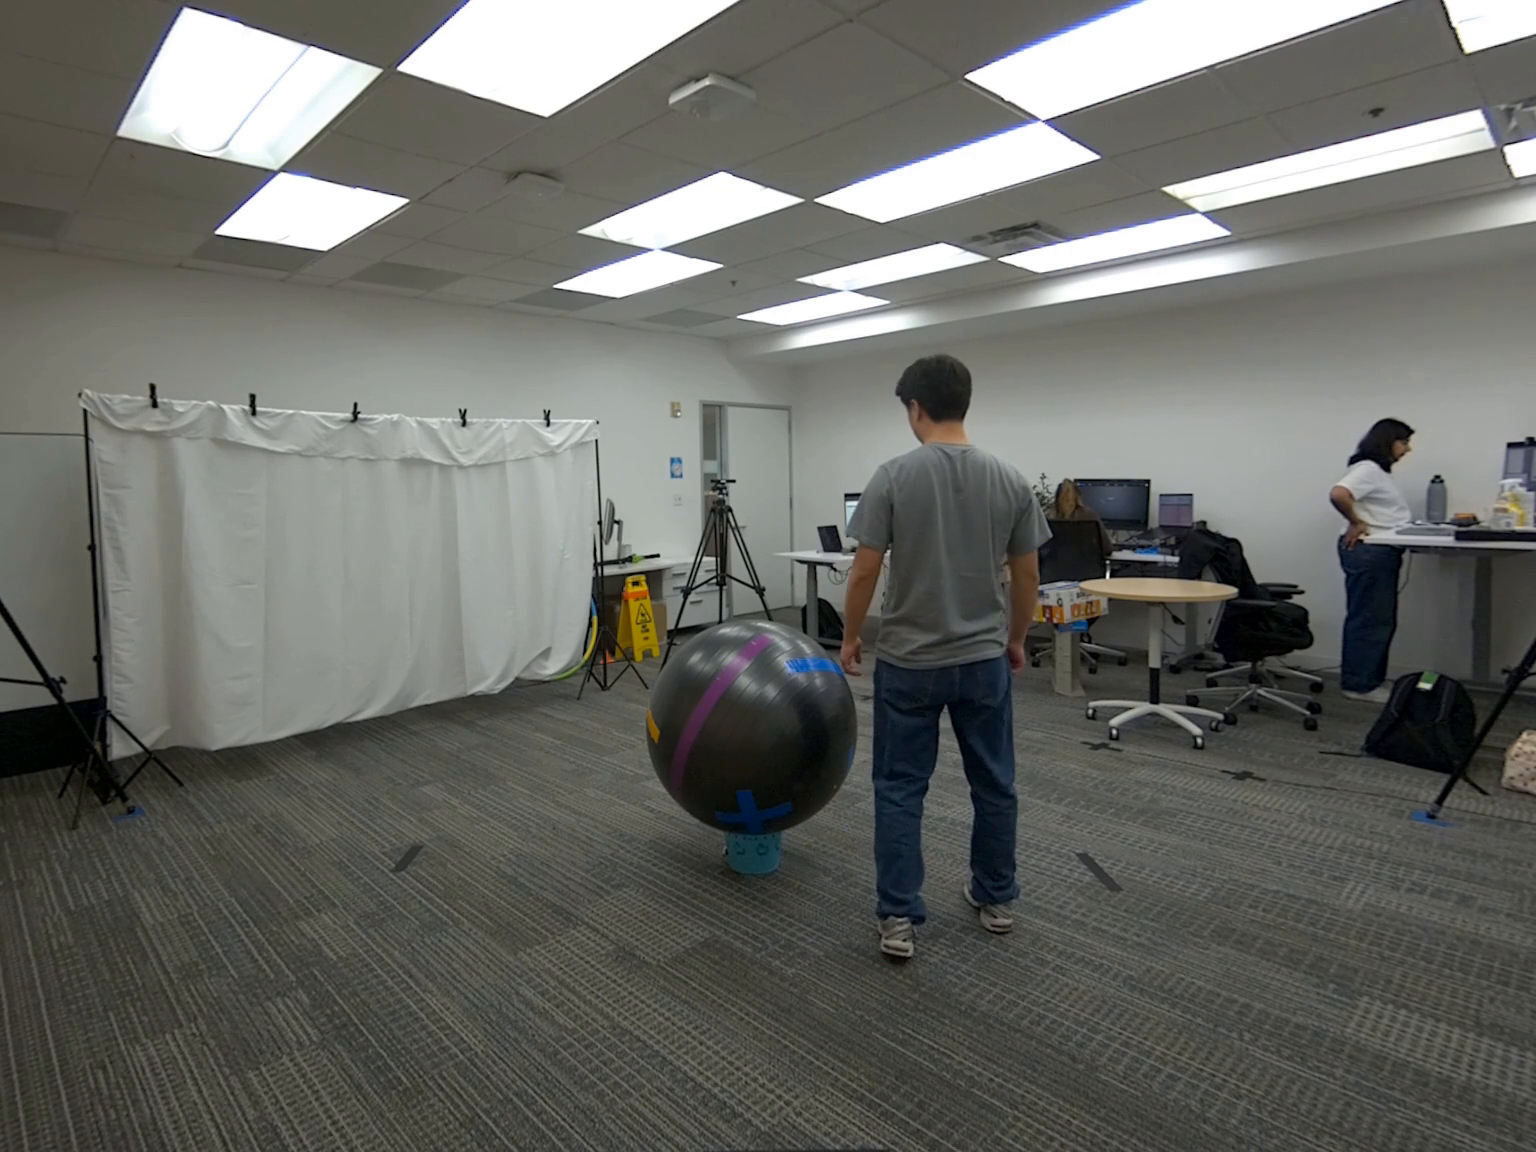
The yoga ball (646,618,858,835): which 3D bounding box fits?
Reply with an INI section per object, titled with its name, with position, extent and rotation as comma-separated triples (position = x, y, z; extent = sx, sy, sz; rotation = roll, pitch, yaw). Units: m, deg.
[yoga ball]
position = -0.060, 0.537, 3.088
extent = 0.757, 0.755, 0.762
rotation = -1, 5, -2
